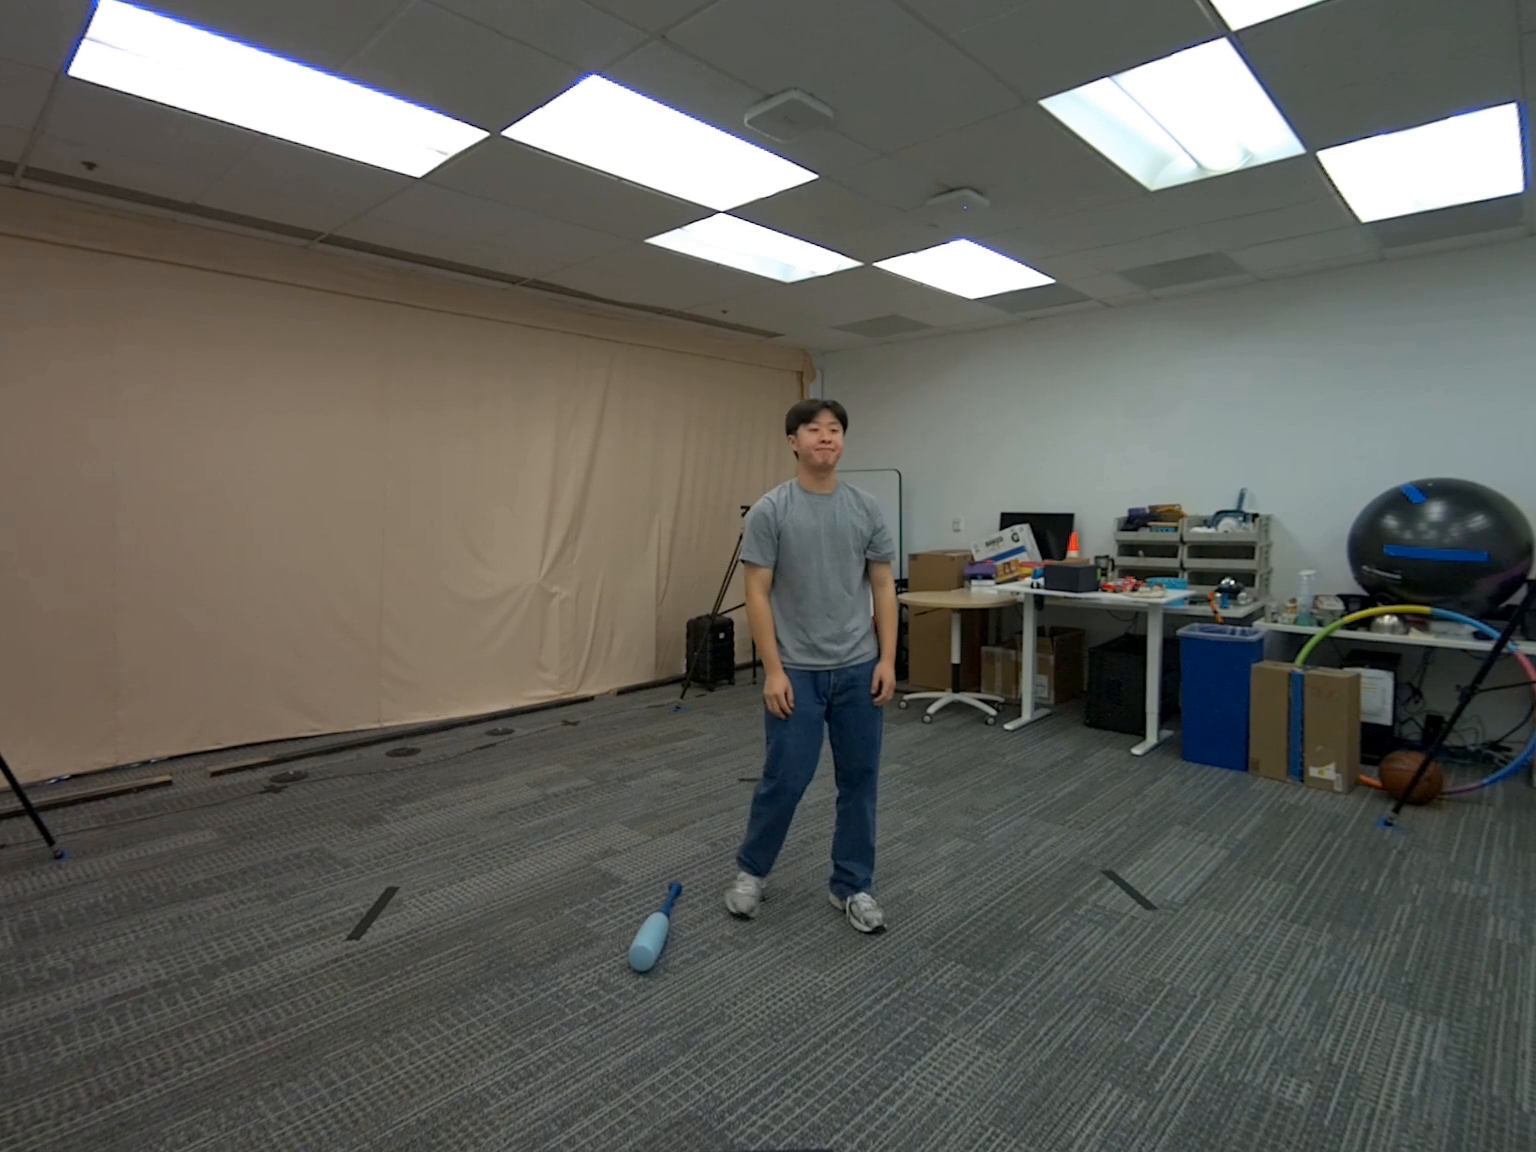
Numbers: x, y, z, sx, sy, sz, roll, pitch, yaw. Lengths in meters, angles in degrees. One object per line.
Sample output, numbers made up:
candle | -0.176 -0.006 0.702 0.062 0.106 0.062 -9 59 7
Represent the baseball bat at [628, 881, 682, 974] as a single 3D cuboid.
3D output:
baseball bat | -0.353 1.133 2.750 0.089 0.089 0.539 0 1 4
